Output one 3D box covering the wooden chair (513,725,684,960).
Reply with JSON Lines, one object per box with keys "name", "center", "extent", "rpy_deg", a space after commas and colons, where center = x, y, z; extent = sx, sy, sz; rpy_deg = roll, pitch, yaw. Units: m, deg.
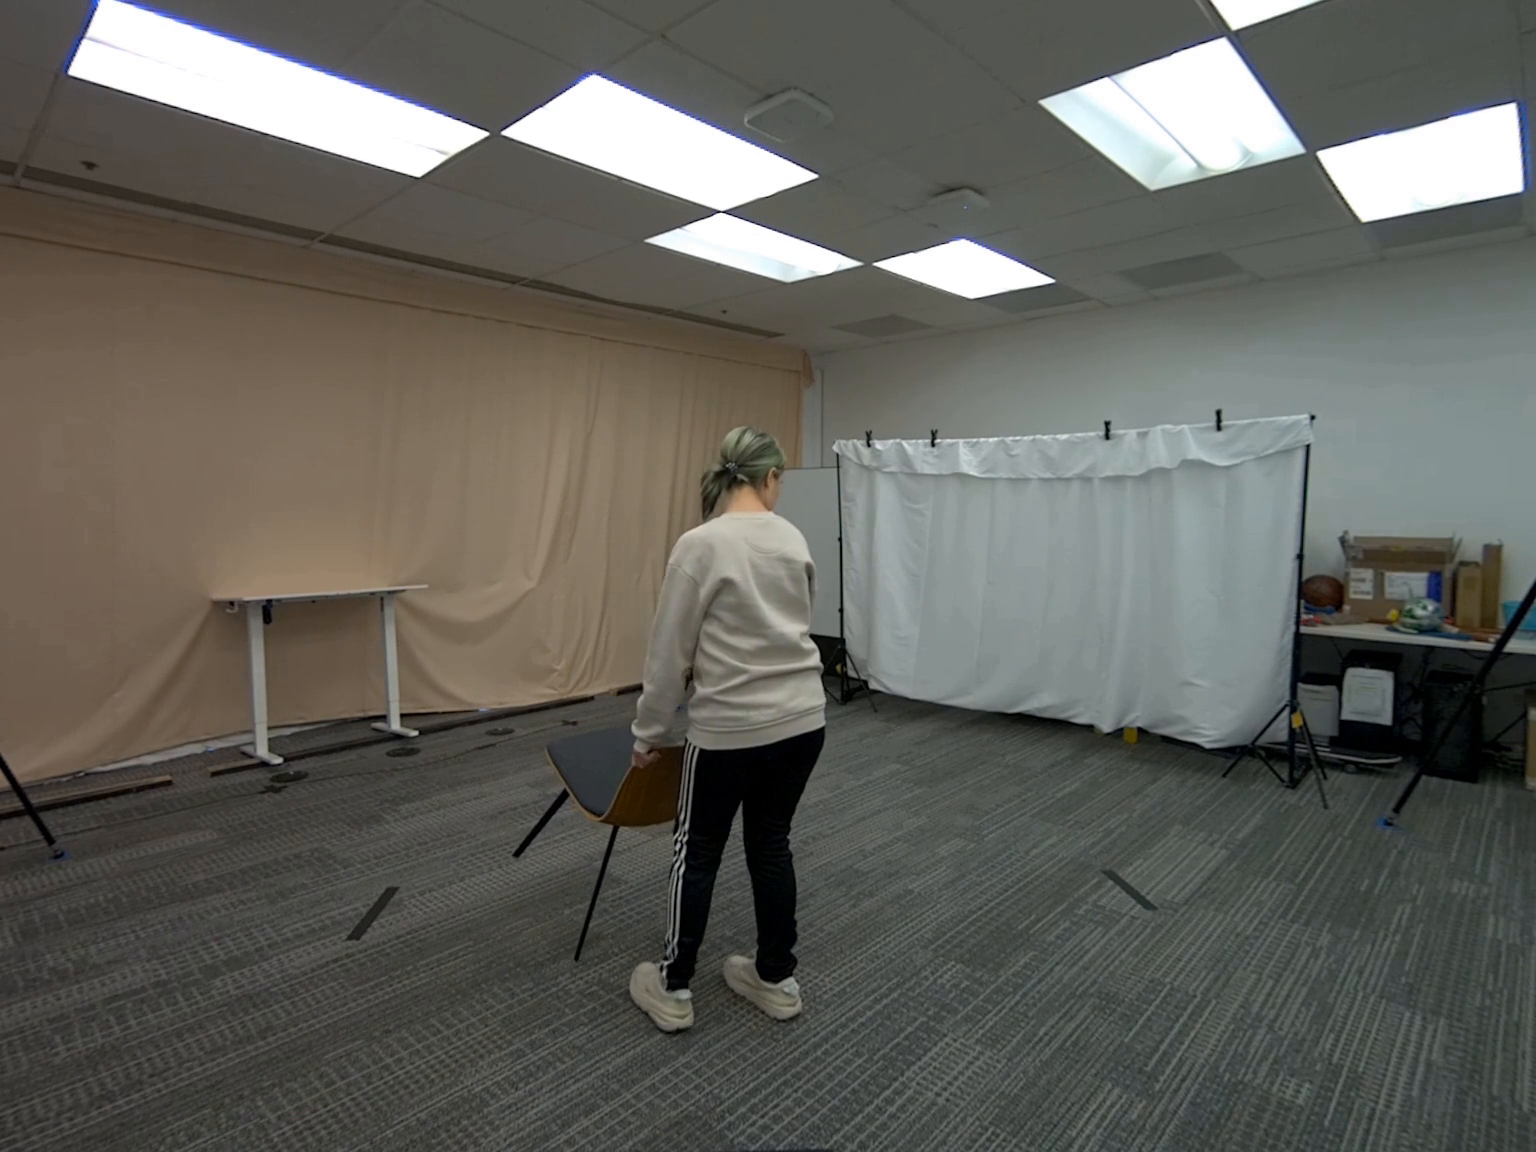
{"name": "wooden chair", "center": [-0.437, 0.677, 2.709], "extent": [0.463, 0.873, 0.542], "rpy_deg": [-3, 36, -41]}
